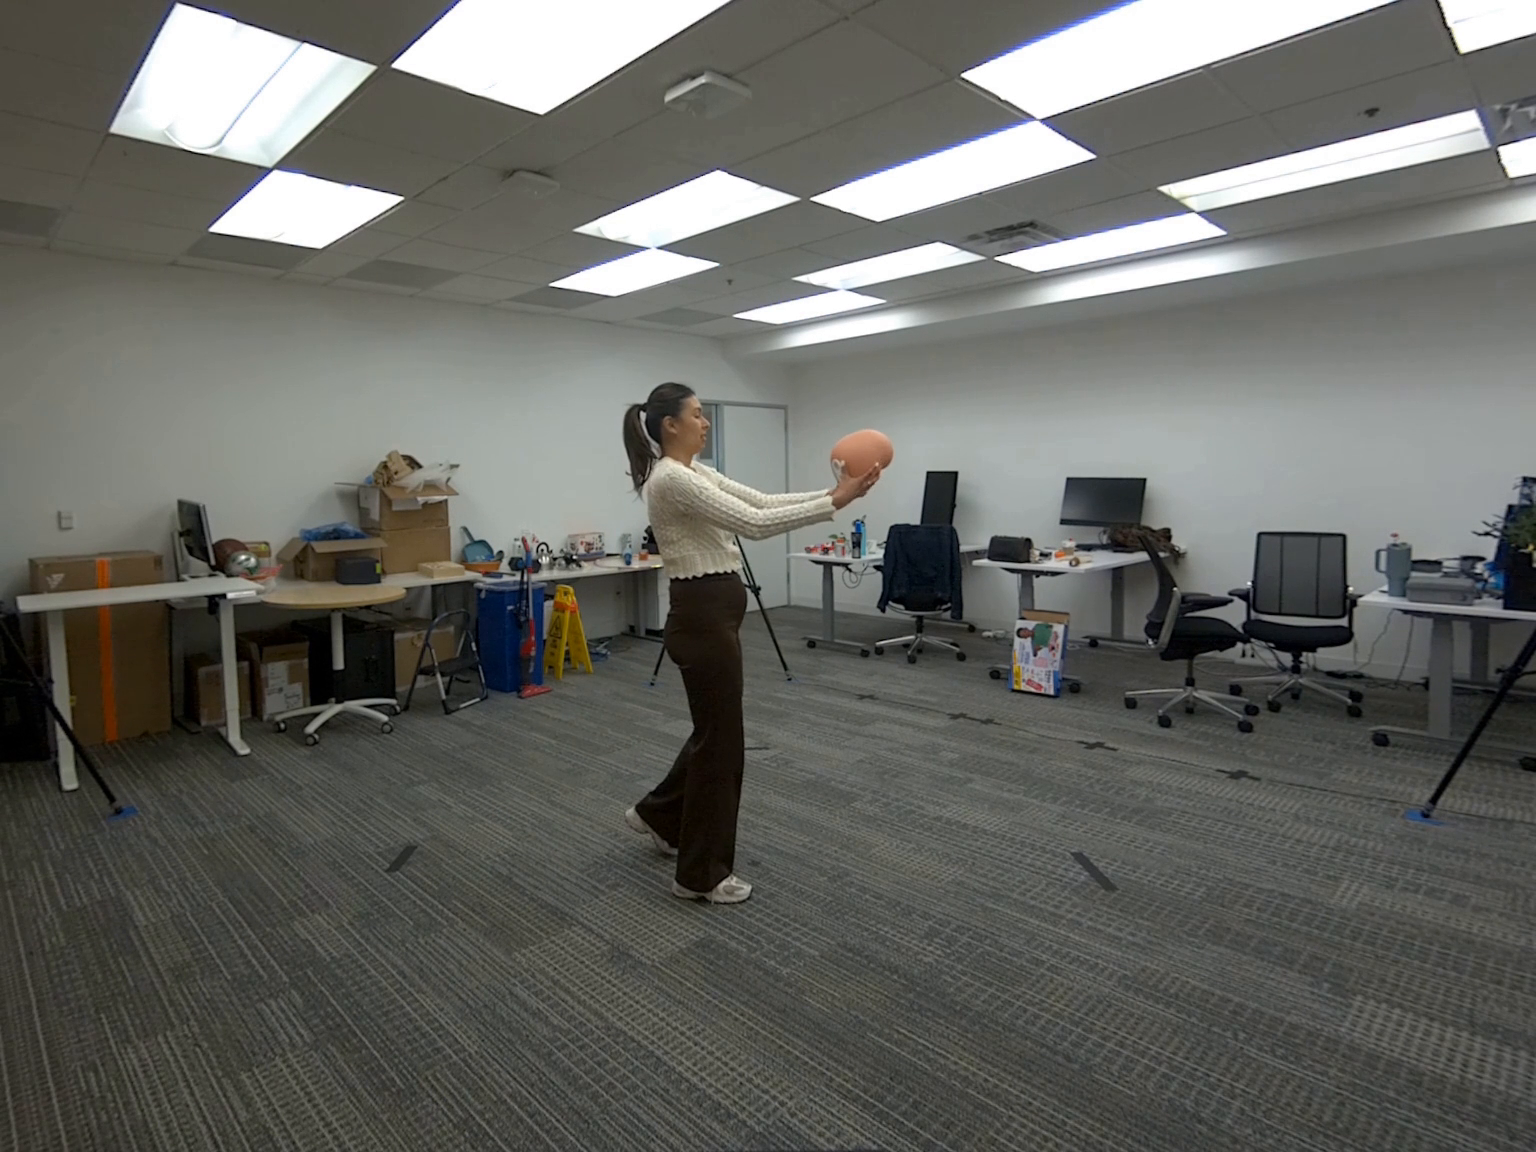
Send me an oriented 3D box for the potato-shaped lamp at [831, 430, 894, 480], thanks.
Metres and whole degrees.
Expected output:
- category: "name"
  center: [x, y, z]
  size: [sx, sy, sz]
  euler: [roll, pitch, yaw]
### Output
- category: "potato-shaped lamp"
  center: [0.304, -0.377, 2.736]
  size: [0.196, 0.169, 0.168]
  euler: [-26, 11, -16]
